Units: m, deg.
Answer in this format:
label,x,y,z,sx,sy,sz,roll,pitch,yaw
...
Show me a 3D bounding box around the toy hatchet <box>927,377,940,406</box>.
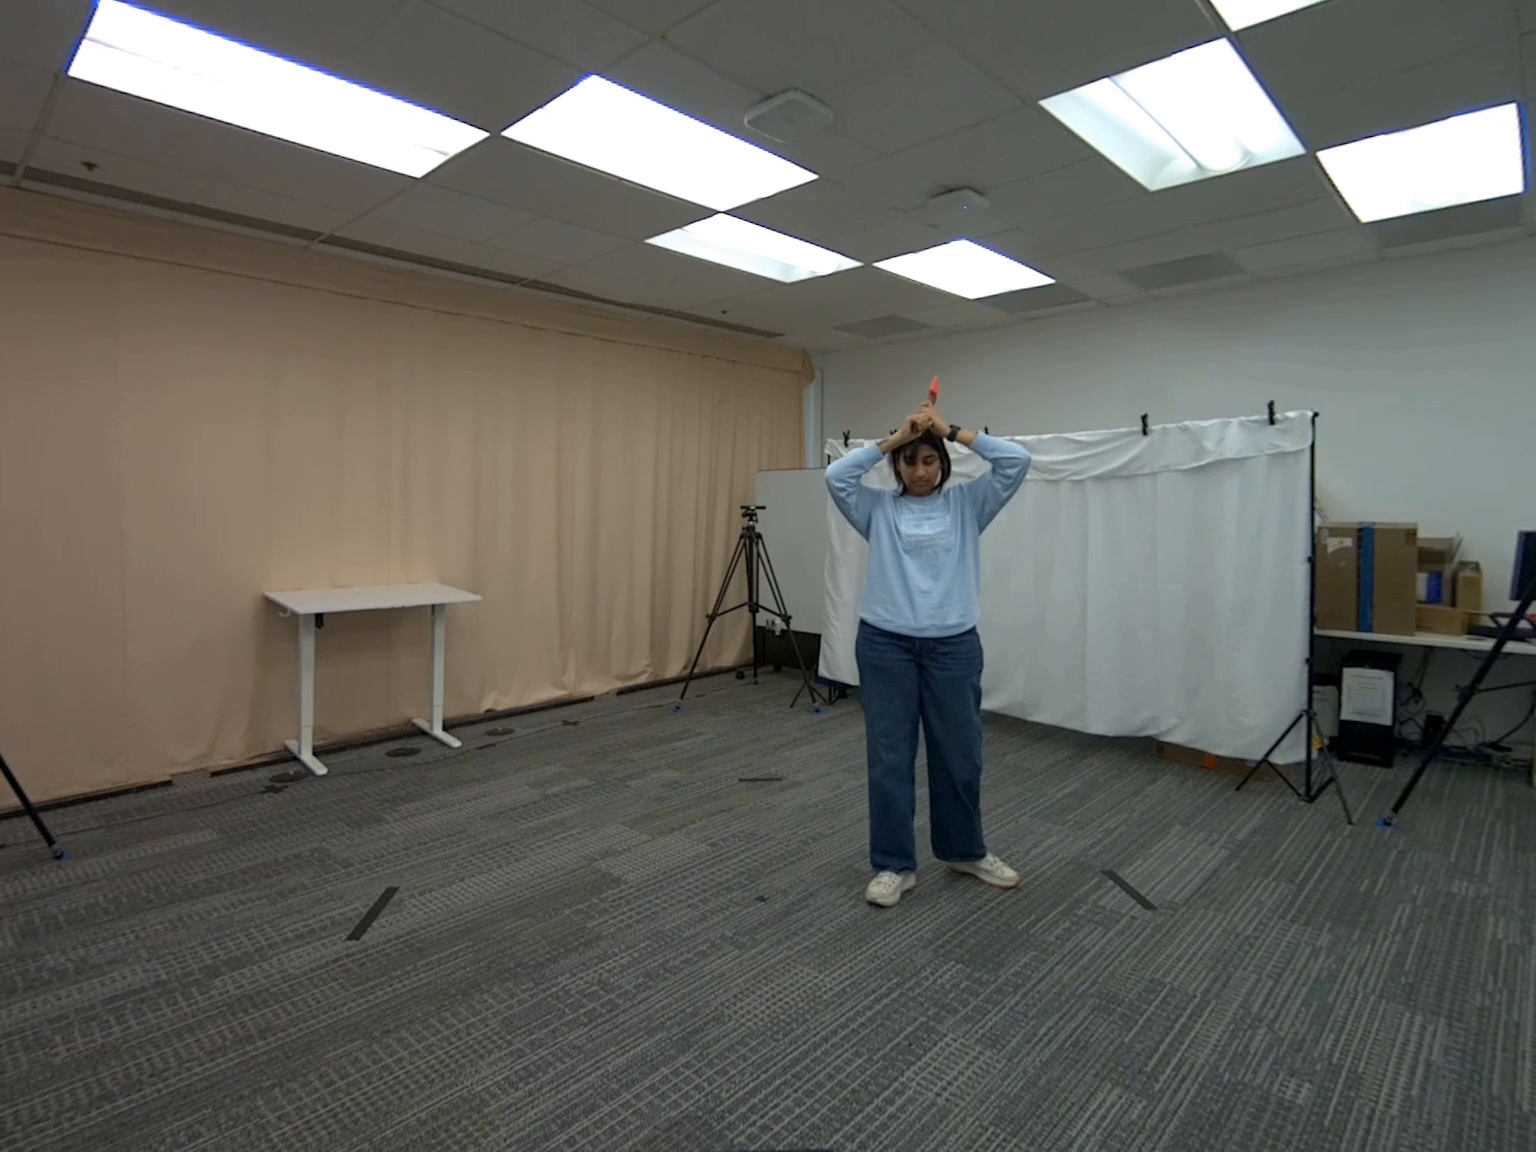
label,x,y,z,sx,sy,sz,roll,pitch,yaw
toy hatchet,0.565,-0.590,2.860,0.030,0.129,0.270,14,34,8
